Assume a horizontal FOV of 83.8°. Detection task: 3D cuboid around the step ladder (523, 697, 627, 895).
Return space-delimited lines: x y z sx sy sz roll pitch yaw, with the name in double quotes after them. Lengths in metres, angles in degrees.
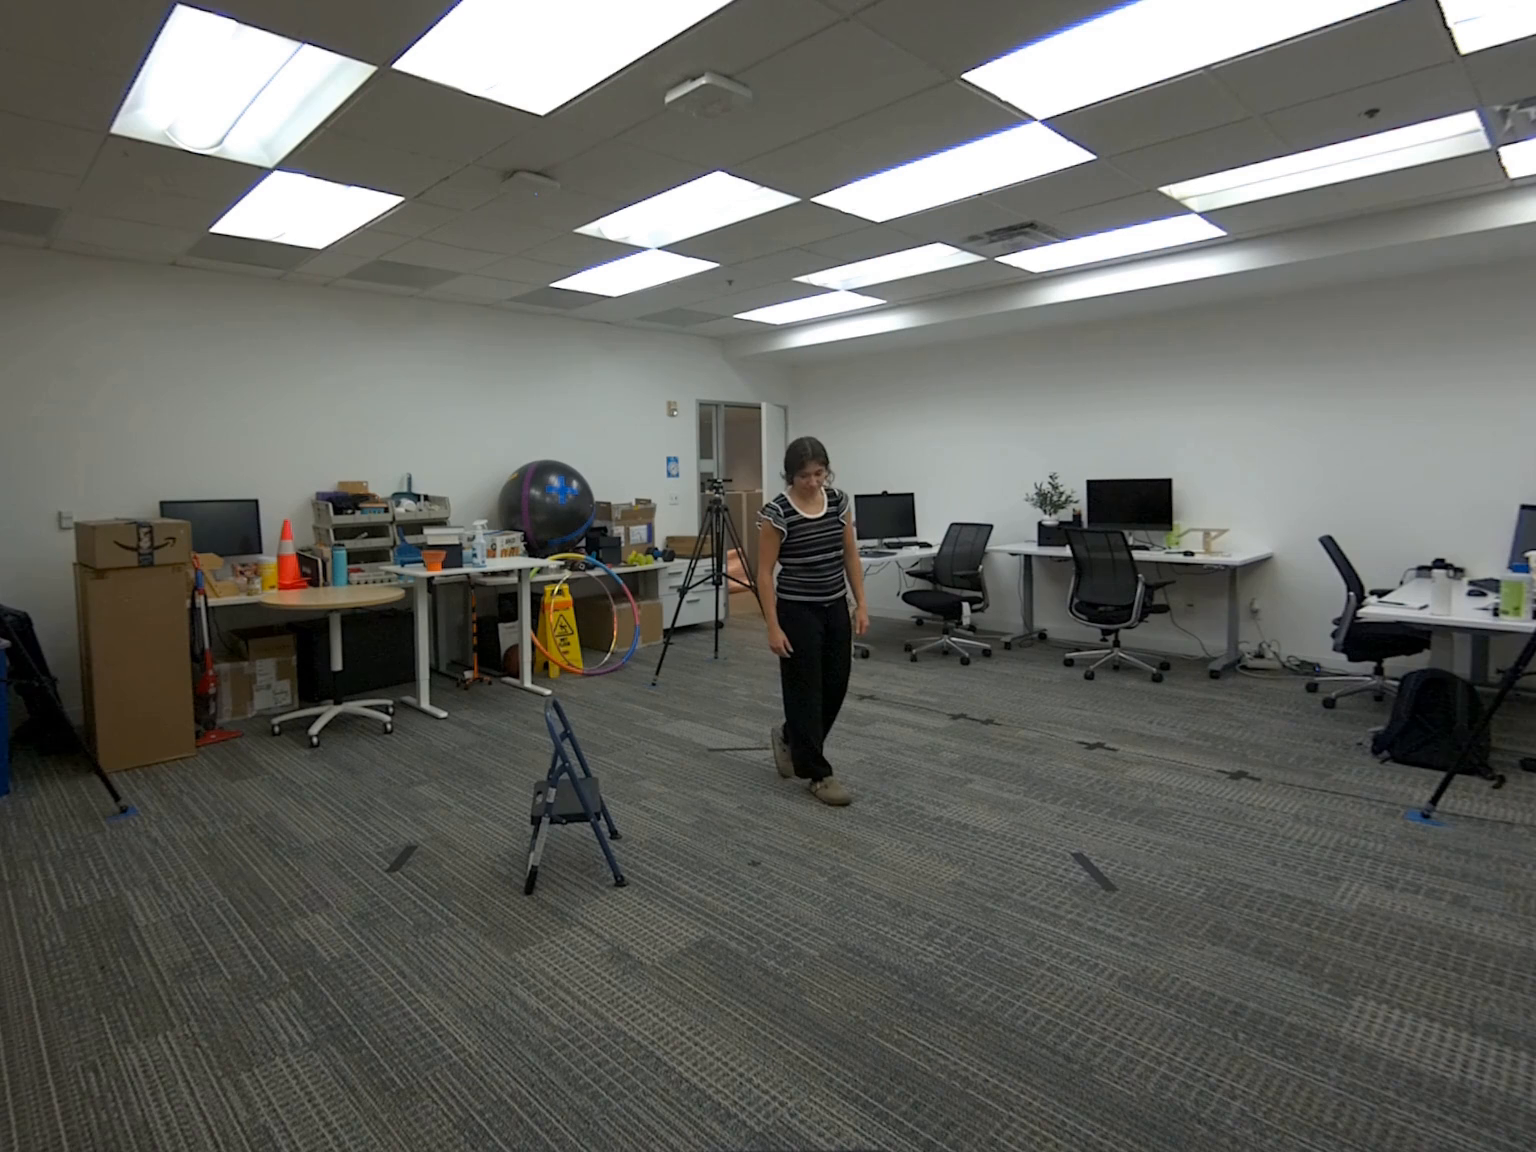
-0.710 0.757 3.110 0.346 0.604 0.437 -2 4 -12 "step ladder"
